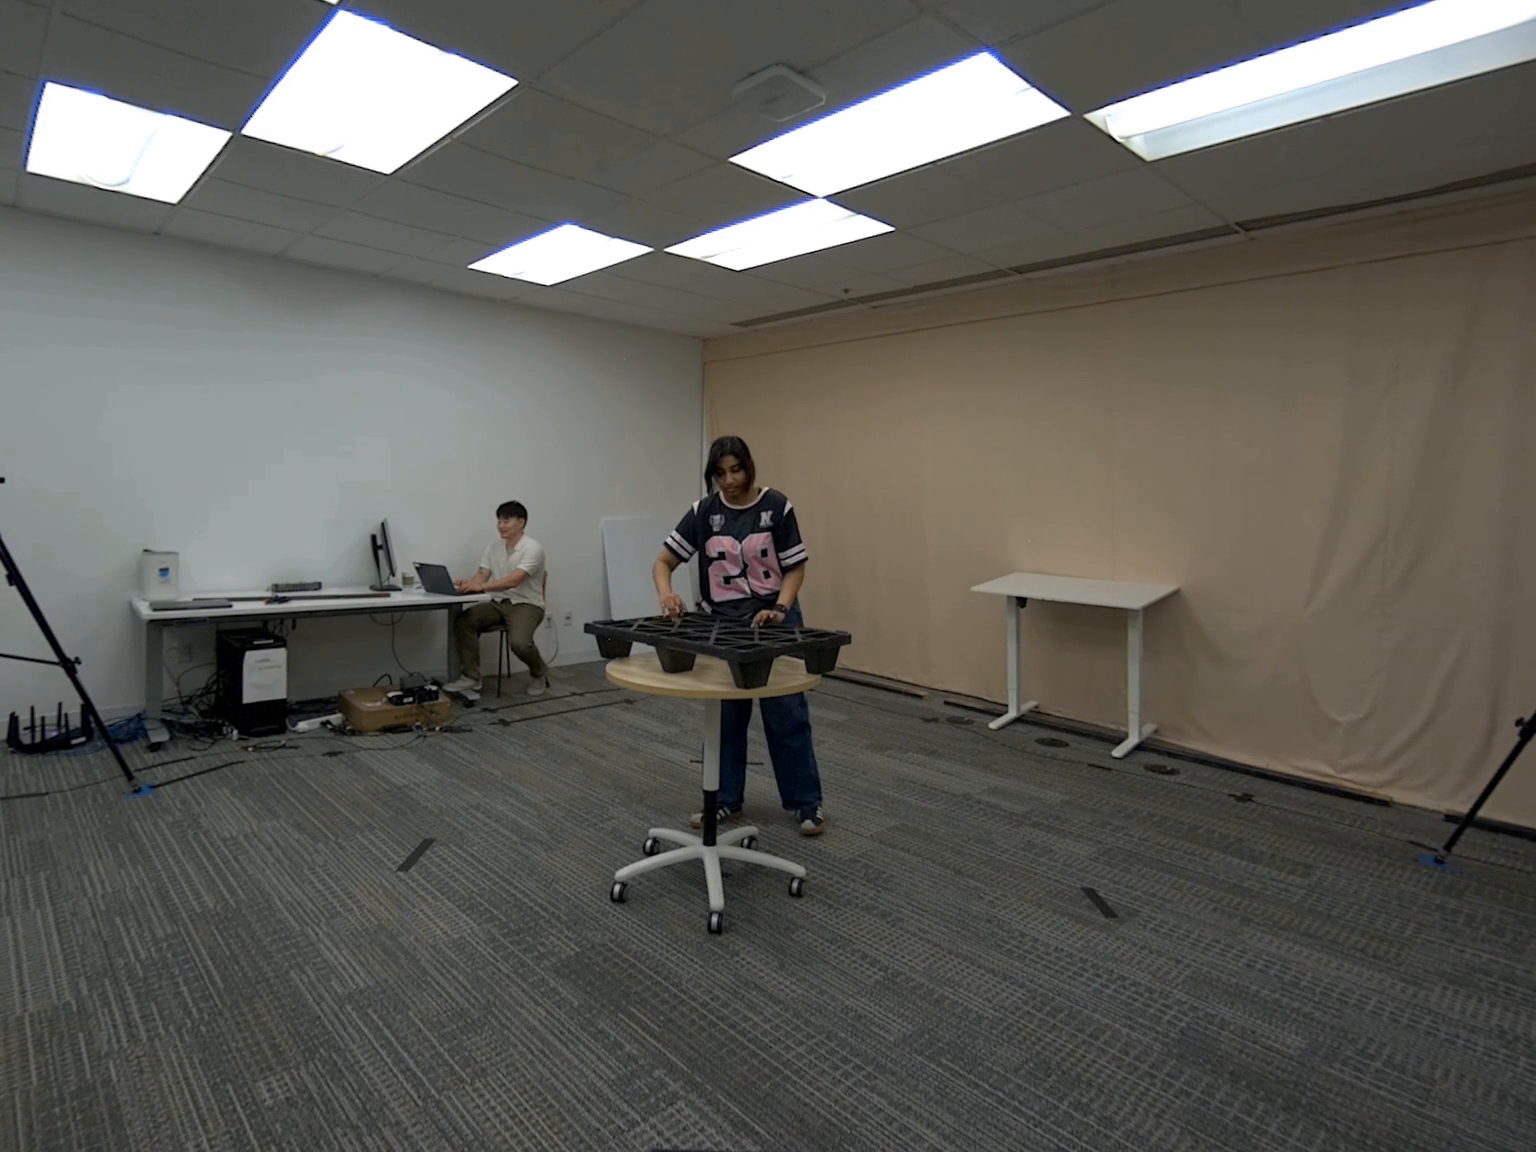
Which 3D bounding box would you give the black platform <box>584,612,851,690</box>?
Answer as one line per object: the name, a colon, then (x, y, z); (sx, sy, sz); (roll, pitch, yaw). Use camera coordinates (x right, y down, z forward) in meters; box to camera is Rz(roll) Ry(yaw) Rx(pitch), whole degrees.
black platform: (-0.196, 0.261, 3.066); (0.826, 0.143, 0.591); (6, 5, 41)
